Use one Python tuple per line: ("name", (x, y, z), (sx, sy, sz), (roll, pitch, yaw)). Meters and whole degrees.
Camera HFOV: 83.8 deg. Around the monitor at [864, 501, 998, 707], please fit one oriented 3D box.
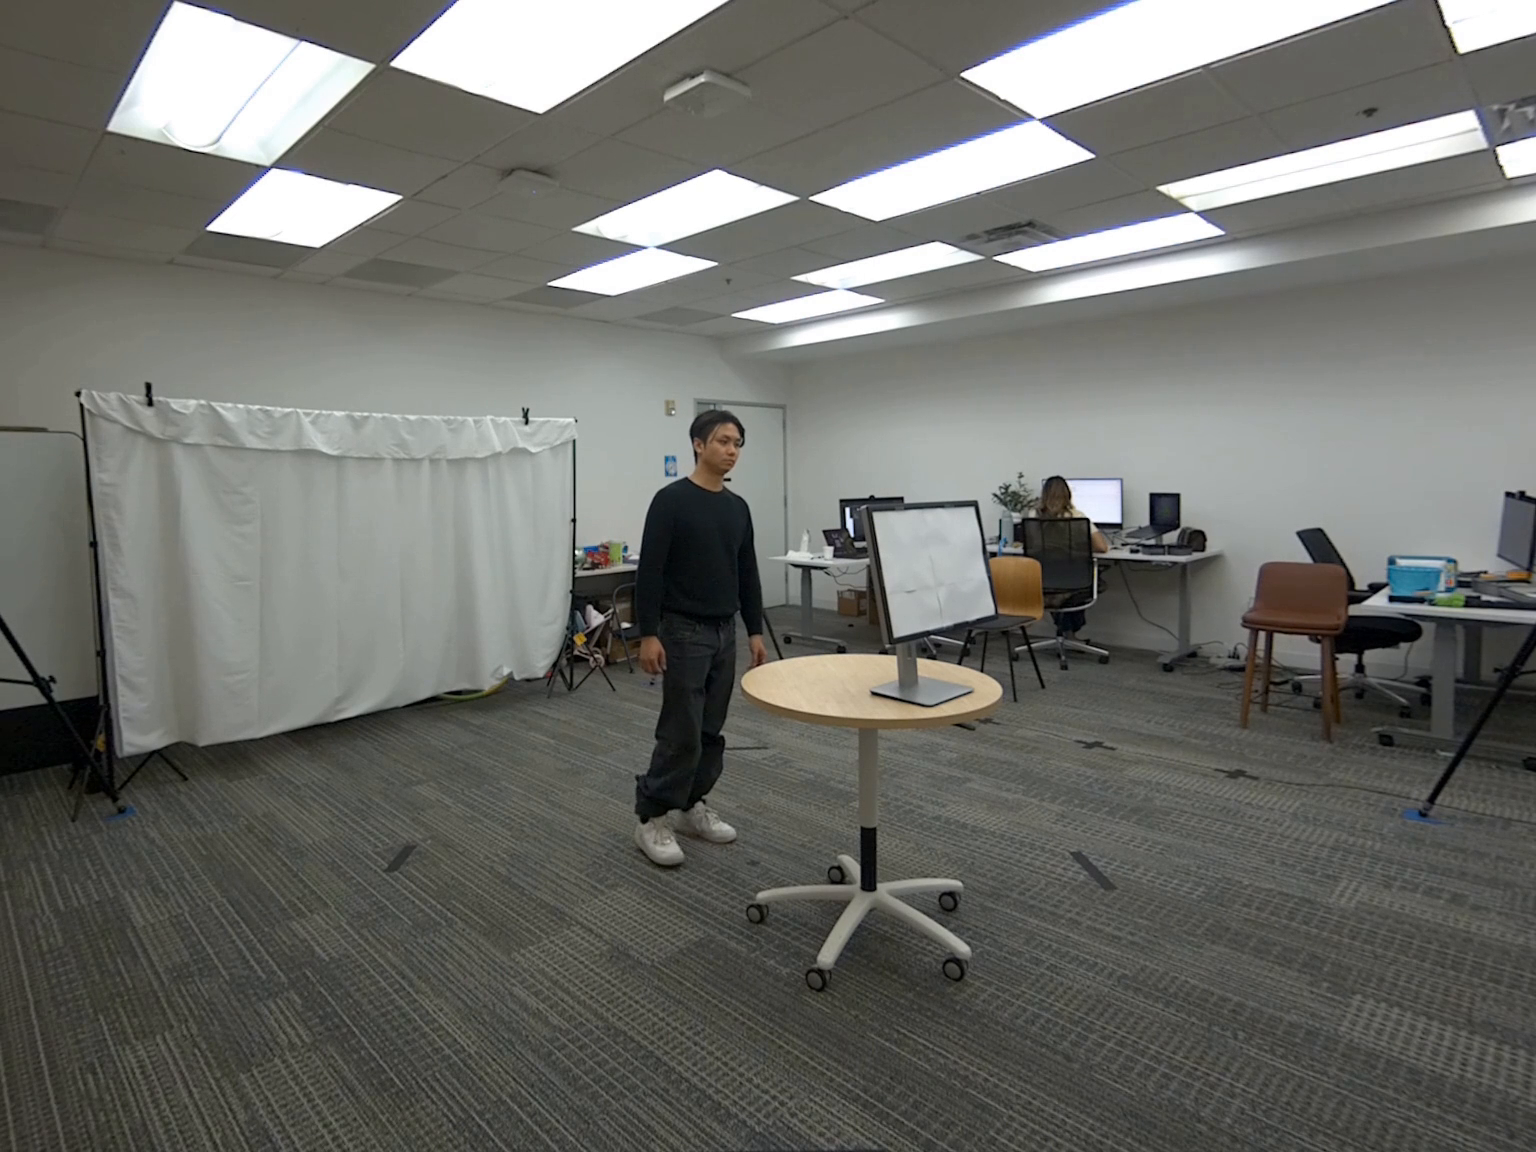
("monitor", (0.447, 0.070, 2.411), (0.193, 0.520, 0.525), (5, 8, 41))
